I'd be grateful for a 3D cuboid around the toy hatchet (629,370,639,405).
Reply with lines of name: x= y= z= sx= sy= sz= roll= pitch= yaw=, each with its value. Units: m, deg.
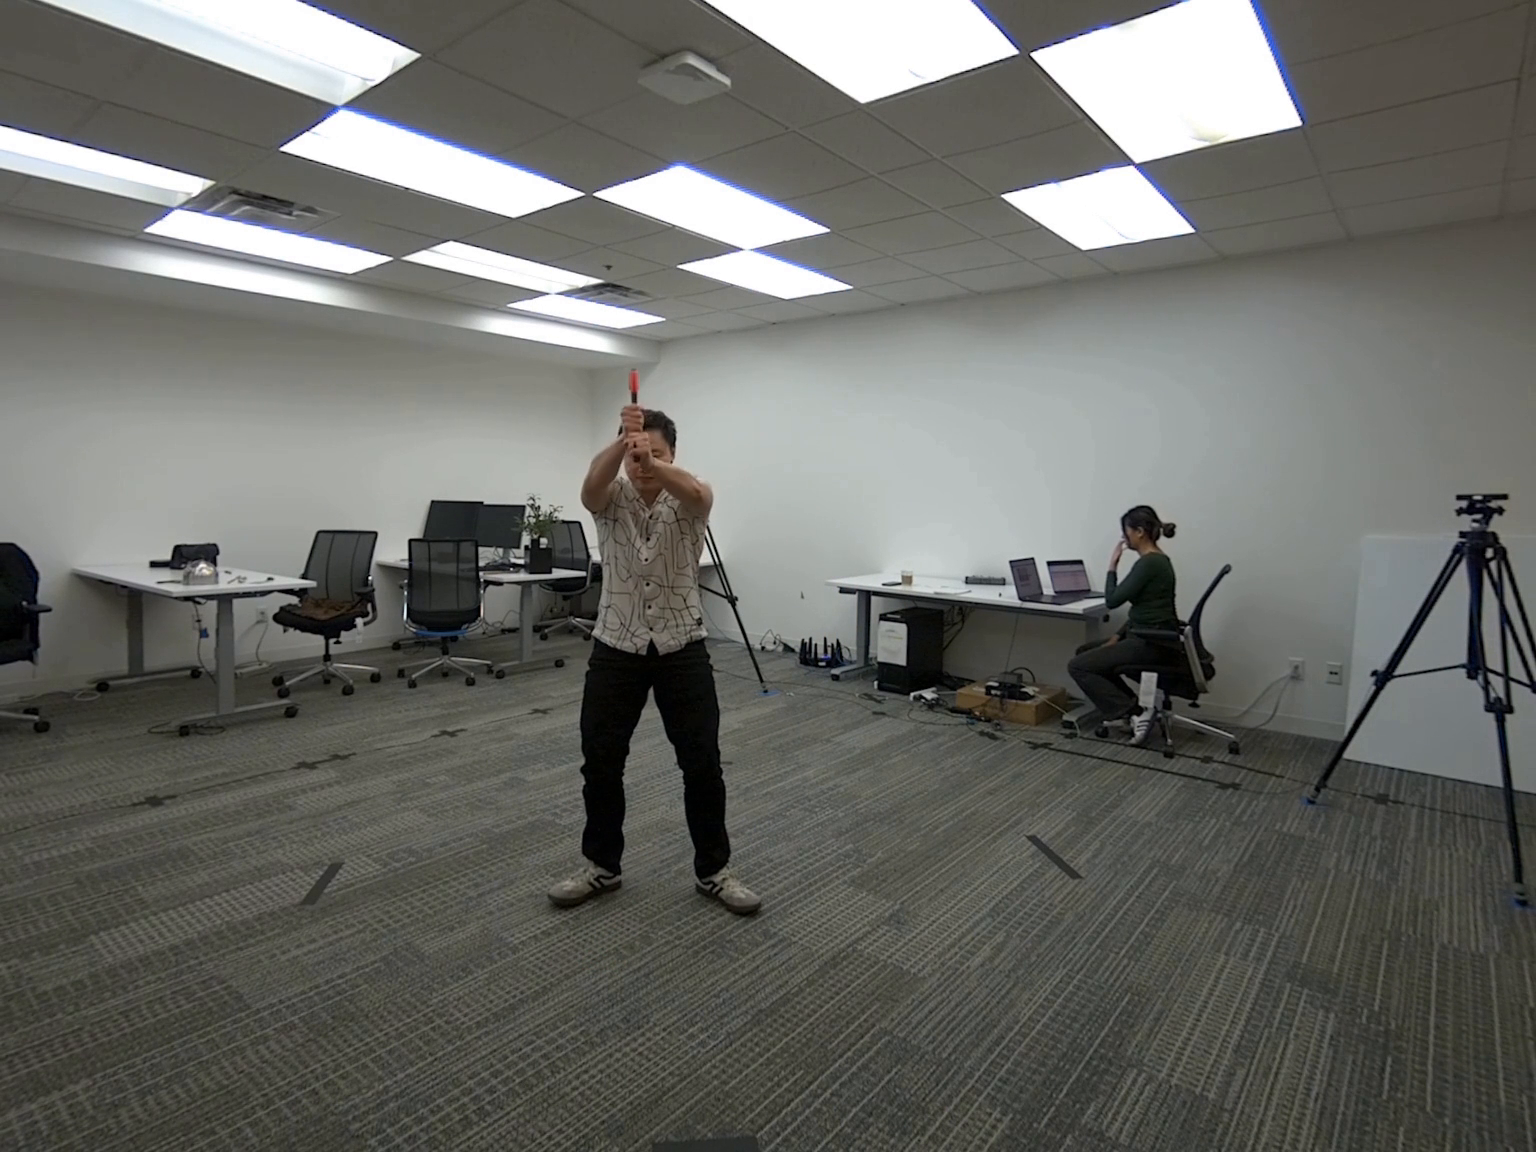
toy hatchet: x=-0.385 y=-0.468 z=2.410 sx=0.029 sy=0.277 sz=0.129 roll=-2 pitch=-27 yaw=-11
